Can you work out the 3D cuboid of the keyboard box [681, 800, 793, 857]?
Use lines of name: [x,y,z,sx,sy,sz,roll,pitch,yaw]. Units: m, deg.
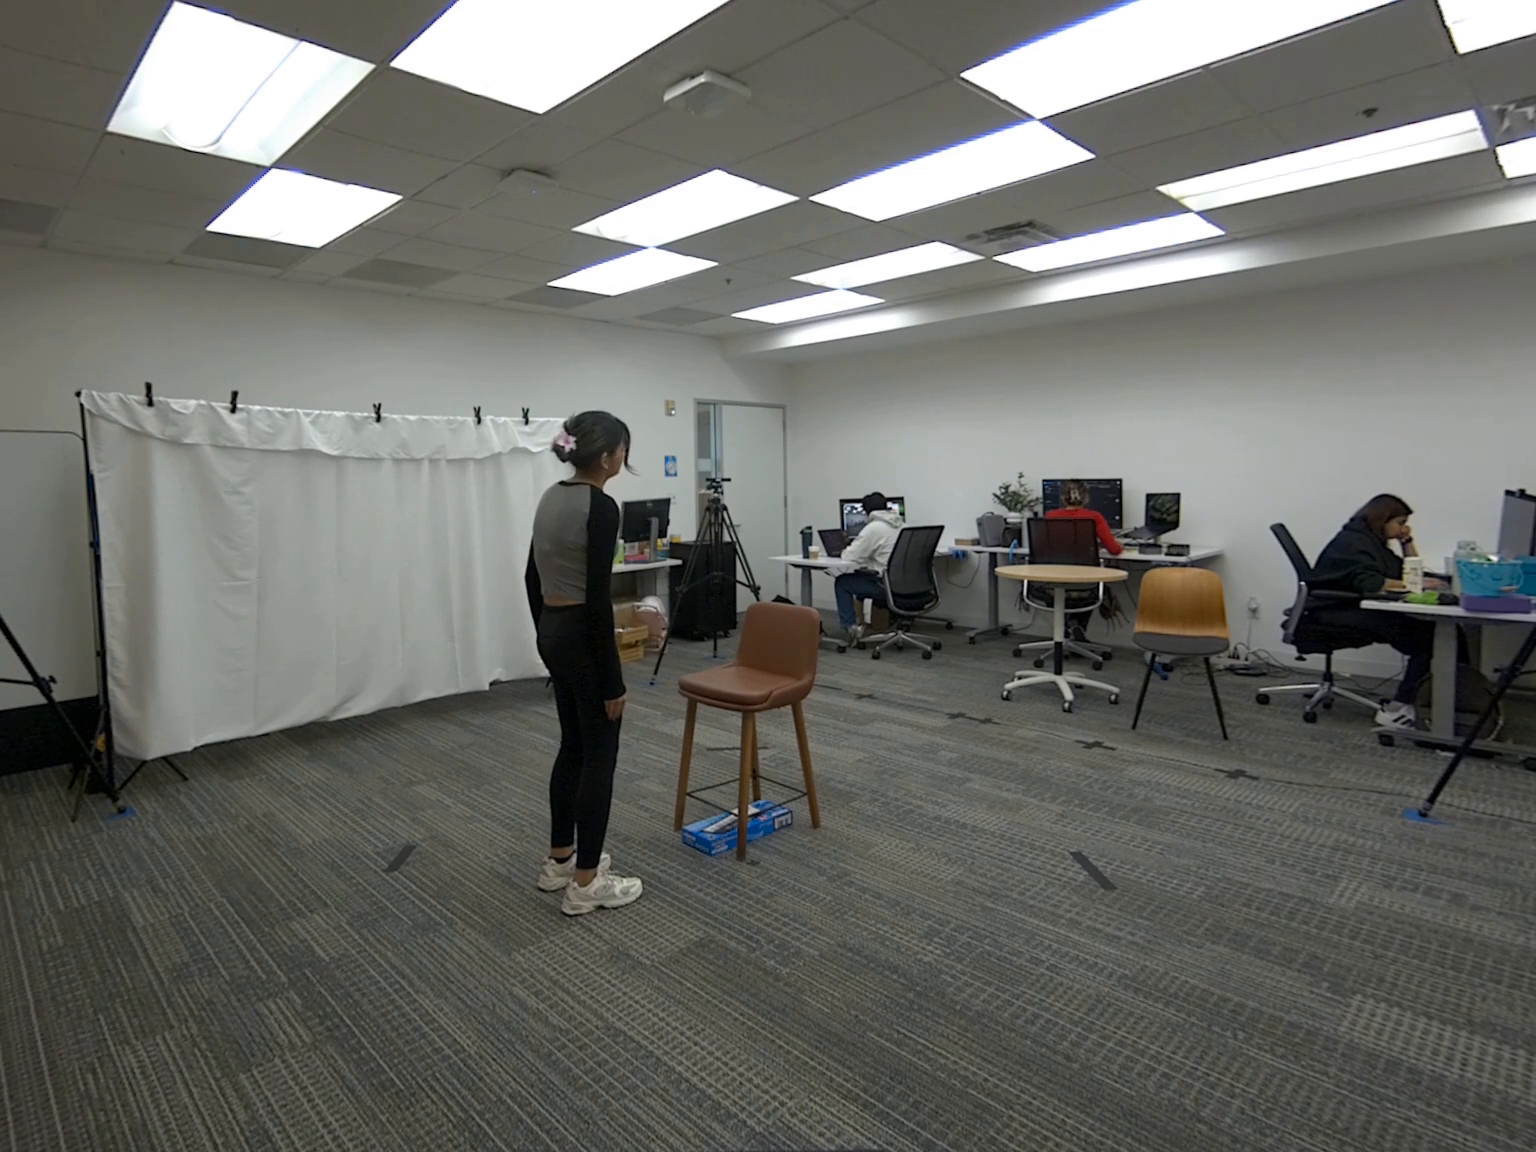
keyboard box: [-0.117,0.986,3.367,0.425,0.059,0.181,-6,8,-42]
